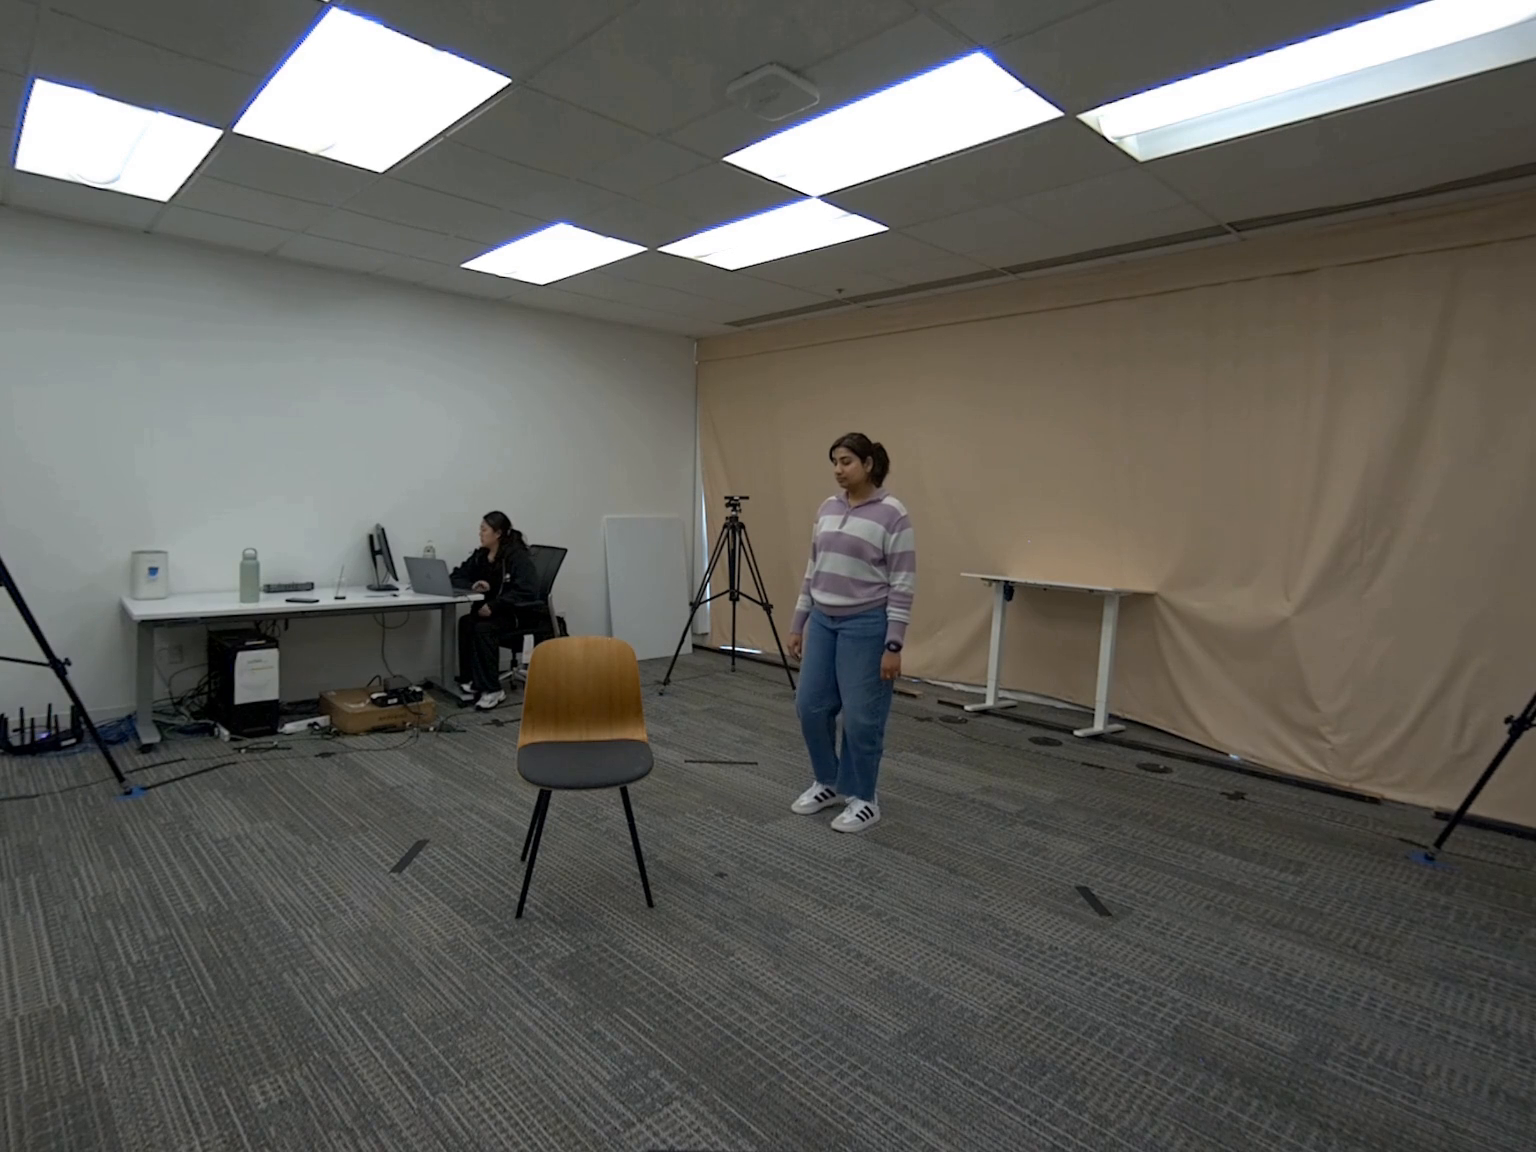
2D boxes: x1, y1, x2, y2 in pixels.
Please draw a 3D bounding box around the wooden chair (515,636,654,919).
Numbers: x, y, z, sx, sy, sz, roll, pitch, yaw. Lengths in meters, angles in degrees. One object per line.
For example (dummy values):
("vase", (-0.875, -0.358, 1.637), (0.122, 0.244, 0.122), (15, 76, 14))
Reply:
("wooden chair", (-0.648, 0.679, 2.972), (0.473, 0.878, 0.529), (1, -1, -14))
